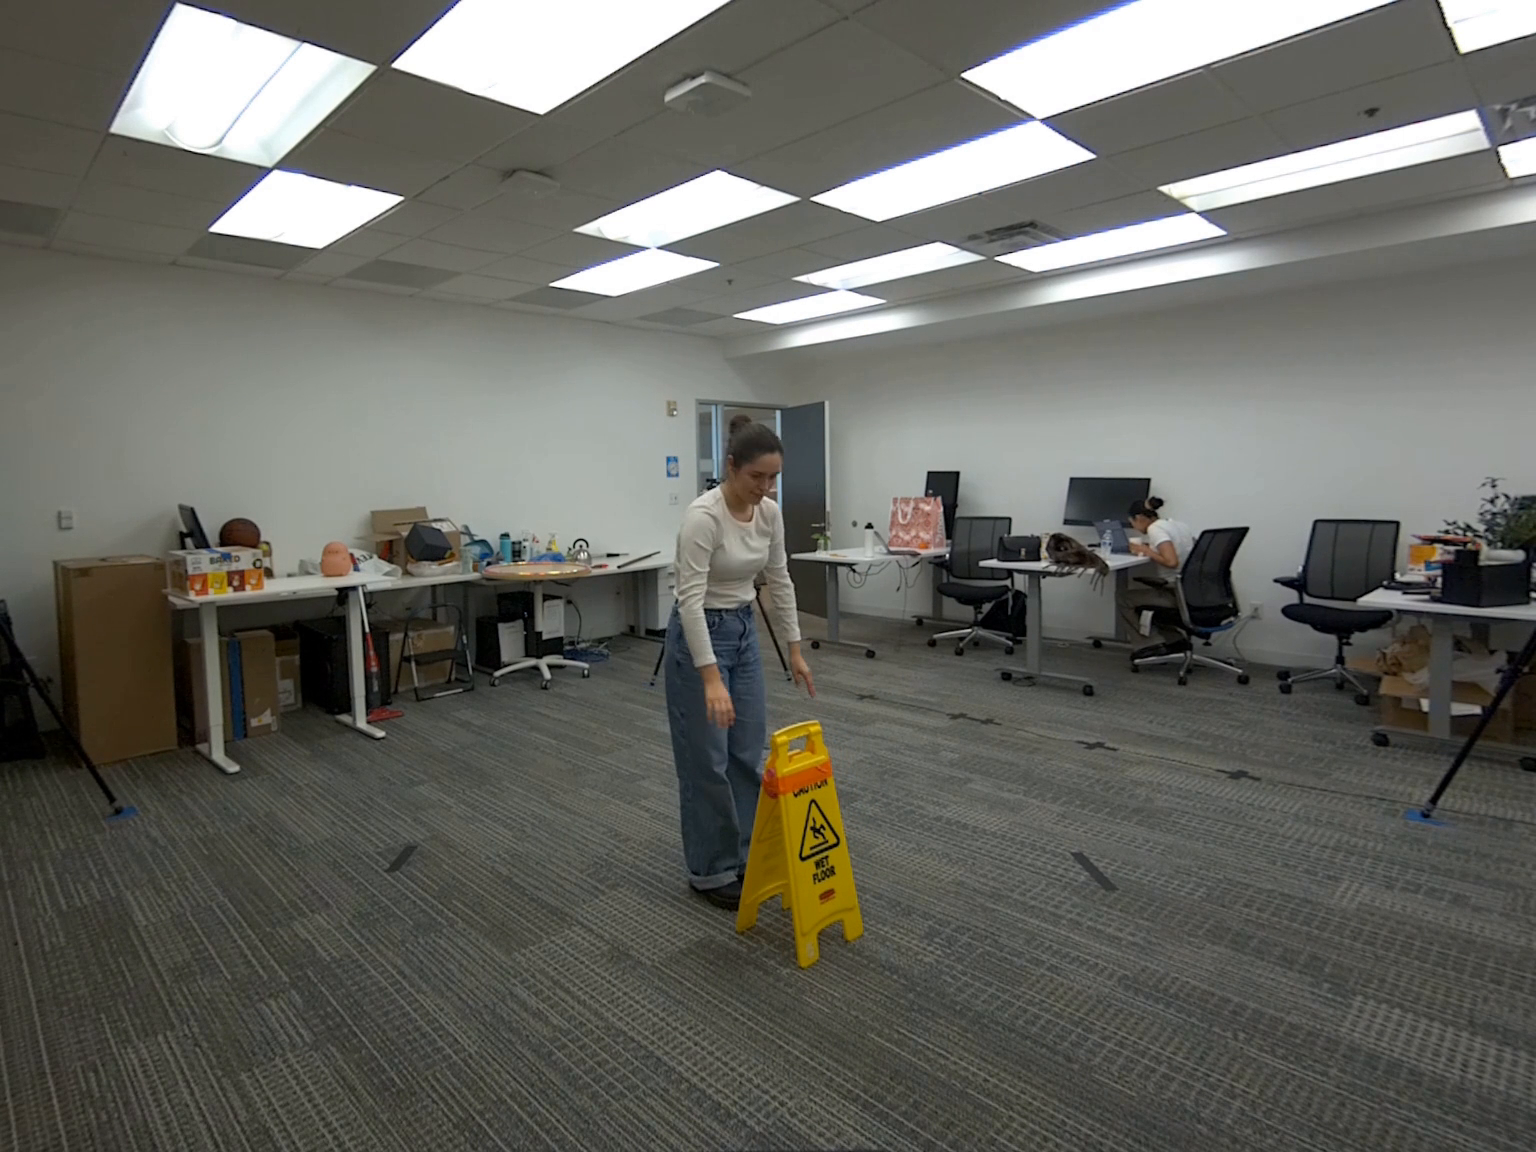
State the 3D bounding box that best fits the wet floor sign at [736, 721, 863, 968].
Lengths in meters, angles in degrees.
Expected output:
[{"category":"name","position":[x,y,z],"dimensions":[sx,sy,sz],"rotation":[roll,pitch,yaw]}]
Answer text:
[{"category":"wet floor sign","position":[0.097,0.776,2.604],"dimensions":[0.275,0.643,0.299],"rotation":[-6,7,-43]}]
